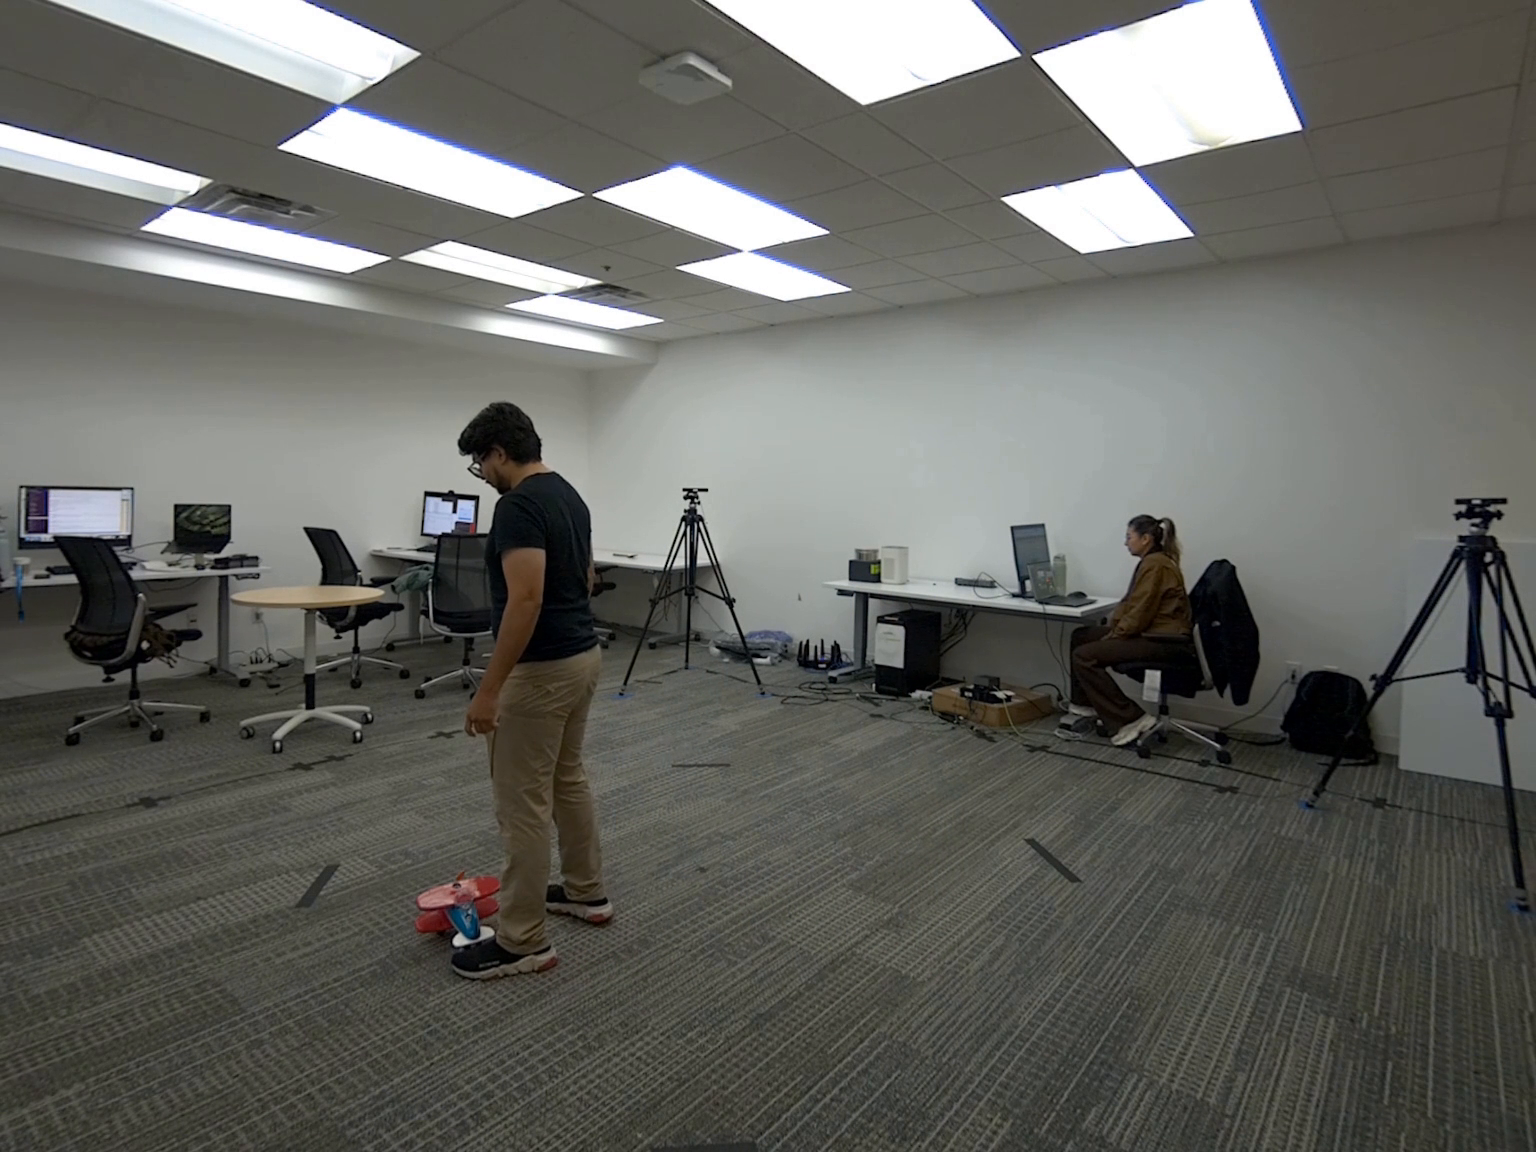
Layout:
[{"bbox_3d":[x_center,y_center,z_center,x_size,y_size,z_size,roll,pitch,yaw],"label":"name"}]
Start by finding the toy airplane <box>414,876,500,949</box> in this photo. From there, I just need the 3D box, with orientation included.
[{"bbox_3d":[-0.932,1.035,2.606,0.266,0.156,0.246,2,6,26],"label":"toy airplane"}]
